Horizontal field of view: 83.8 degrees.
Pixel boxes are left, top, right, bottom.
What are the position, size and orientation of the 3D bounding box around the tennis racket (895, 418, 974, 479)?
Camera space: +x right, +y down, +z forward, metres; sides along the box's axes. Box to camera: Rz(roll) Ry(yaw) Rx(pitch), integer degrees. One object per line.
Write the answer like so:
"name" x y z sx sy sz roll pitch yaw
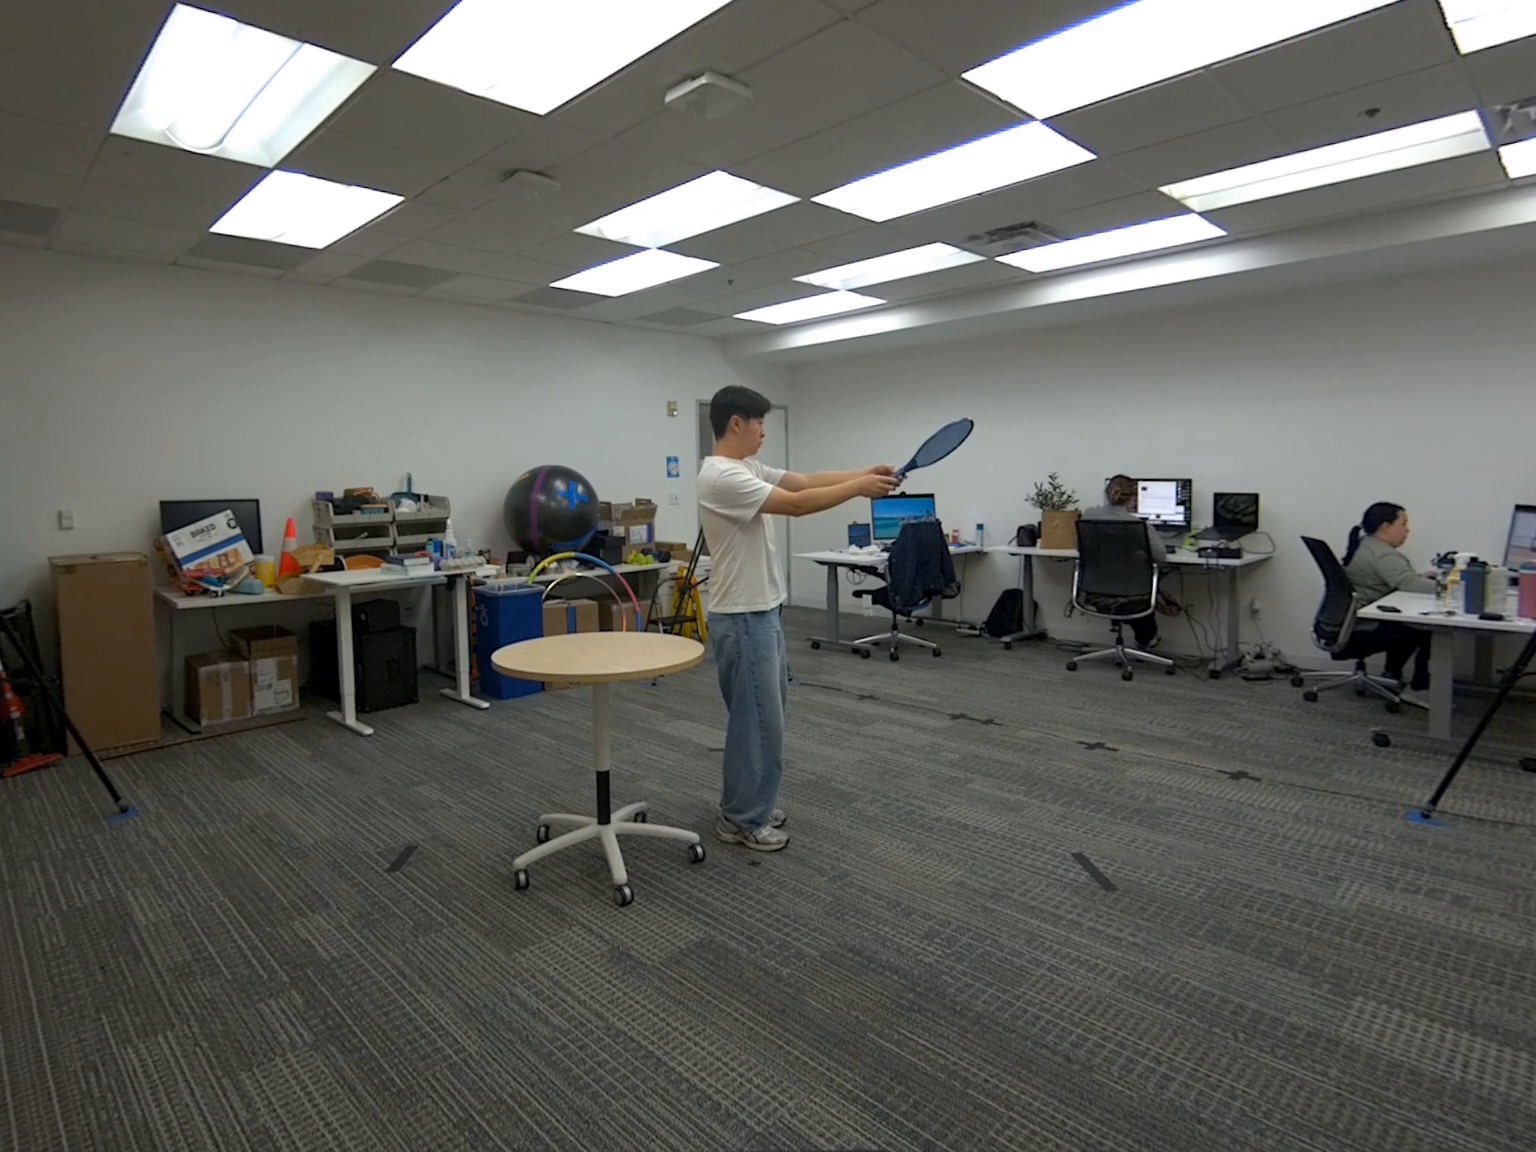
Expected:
"tennis racket" 0.586 -0.442 3.190 0.434 0.033 0.207 -35 -24 7
